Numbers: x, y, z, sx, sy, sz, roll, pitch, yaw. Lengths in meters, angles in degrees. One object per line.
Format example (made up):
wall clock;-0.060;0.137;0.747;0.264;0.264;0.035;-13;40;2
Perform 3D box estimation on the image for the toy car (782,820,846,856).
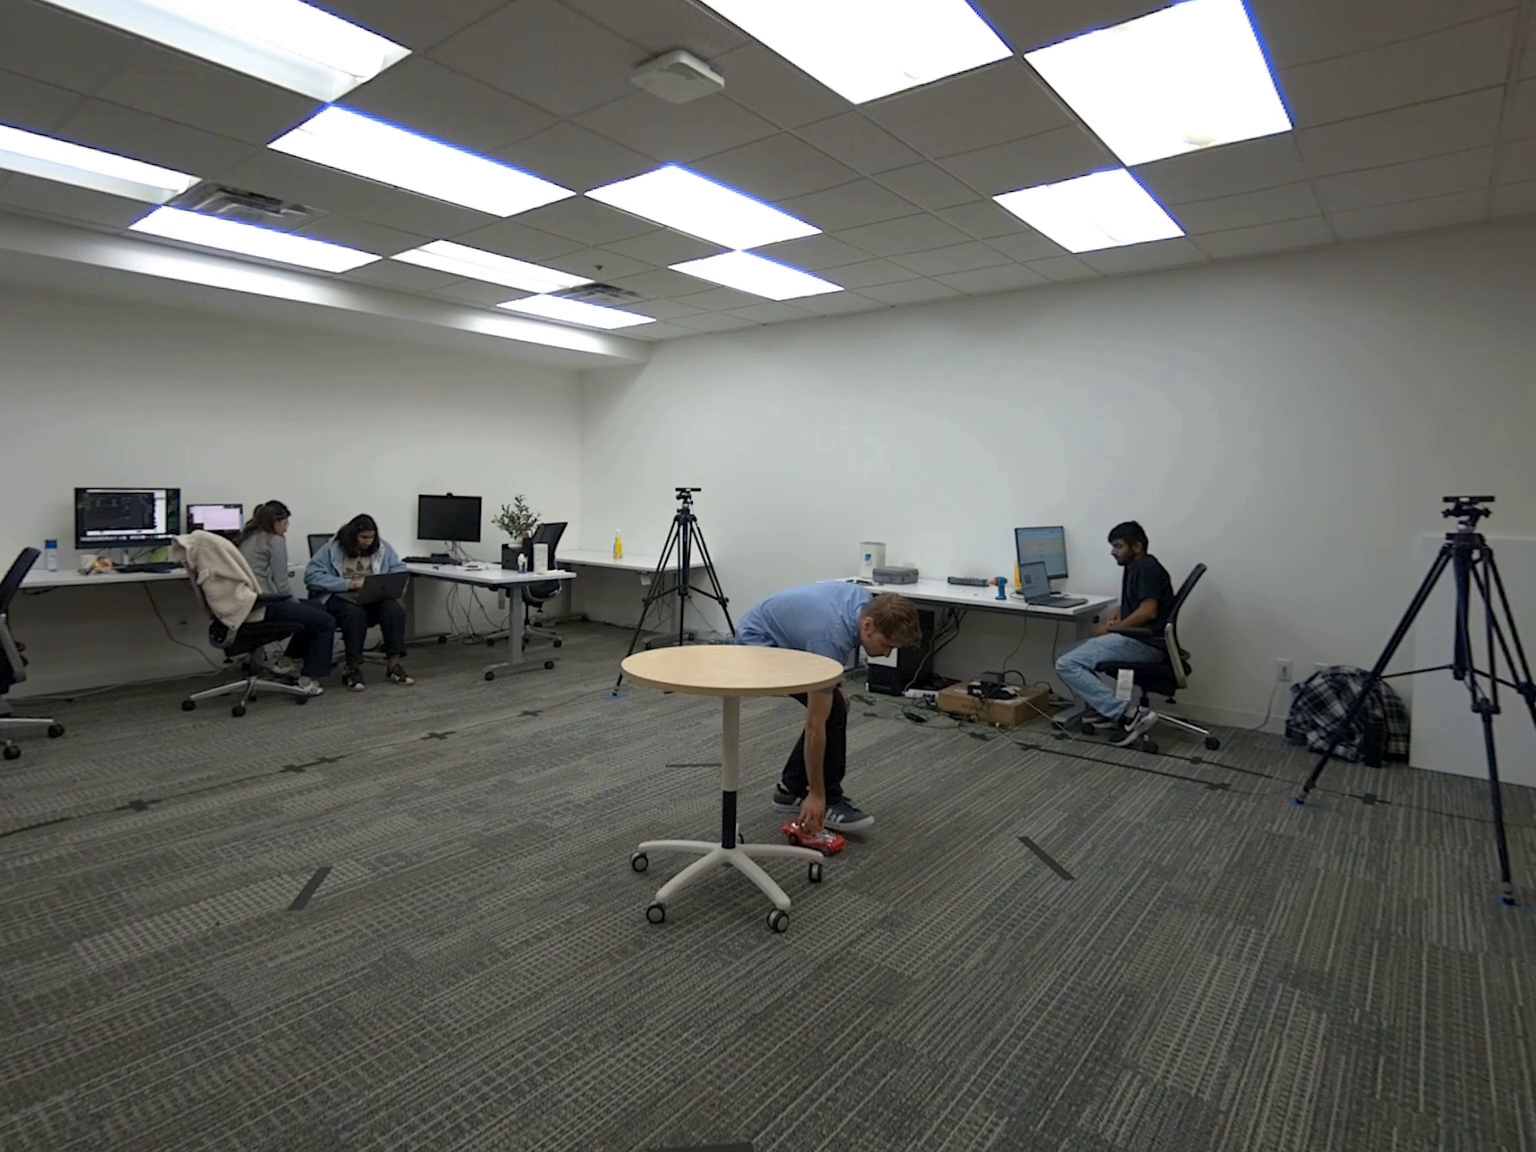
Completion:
toy car;0.173;1.026;3.337;0.264;0.082;0.126;19;14;38
